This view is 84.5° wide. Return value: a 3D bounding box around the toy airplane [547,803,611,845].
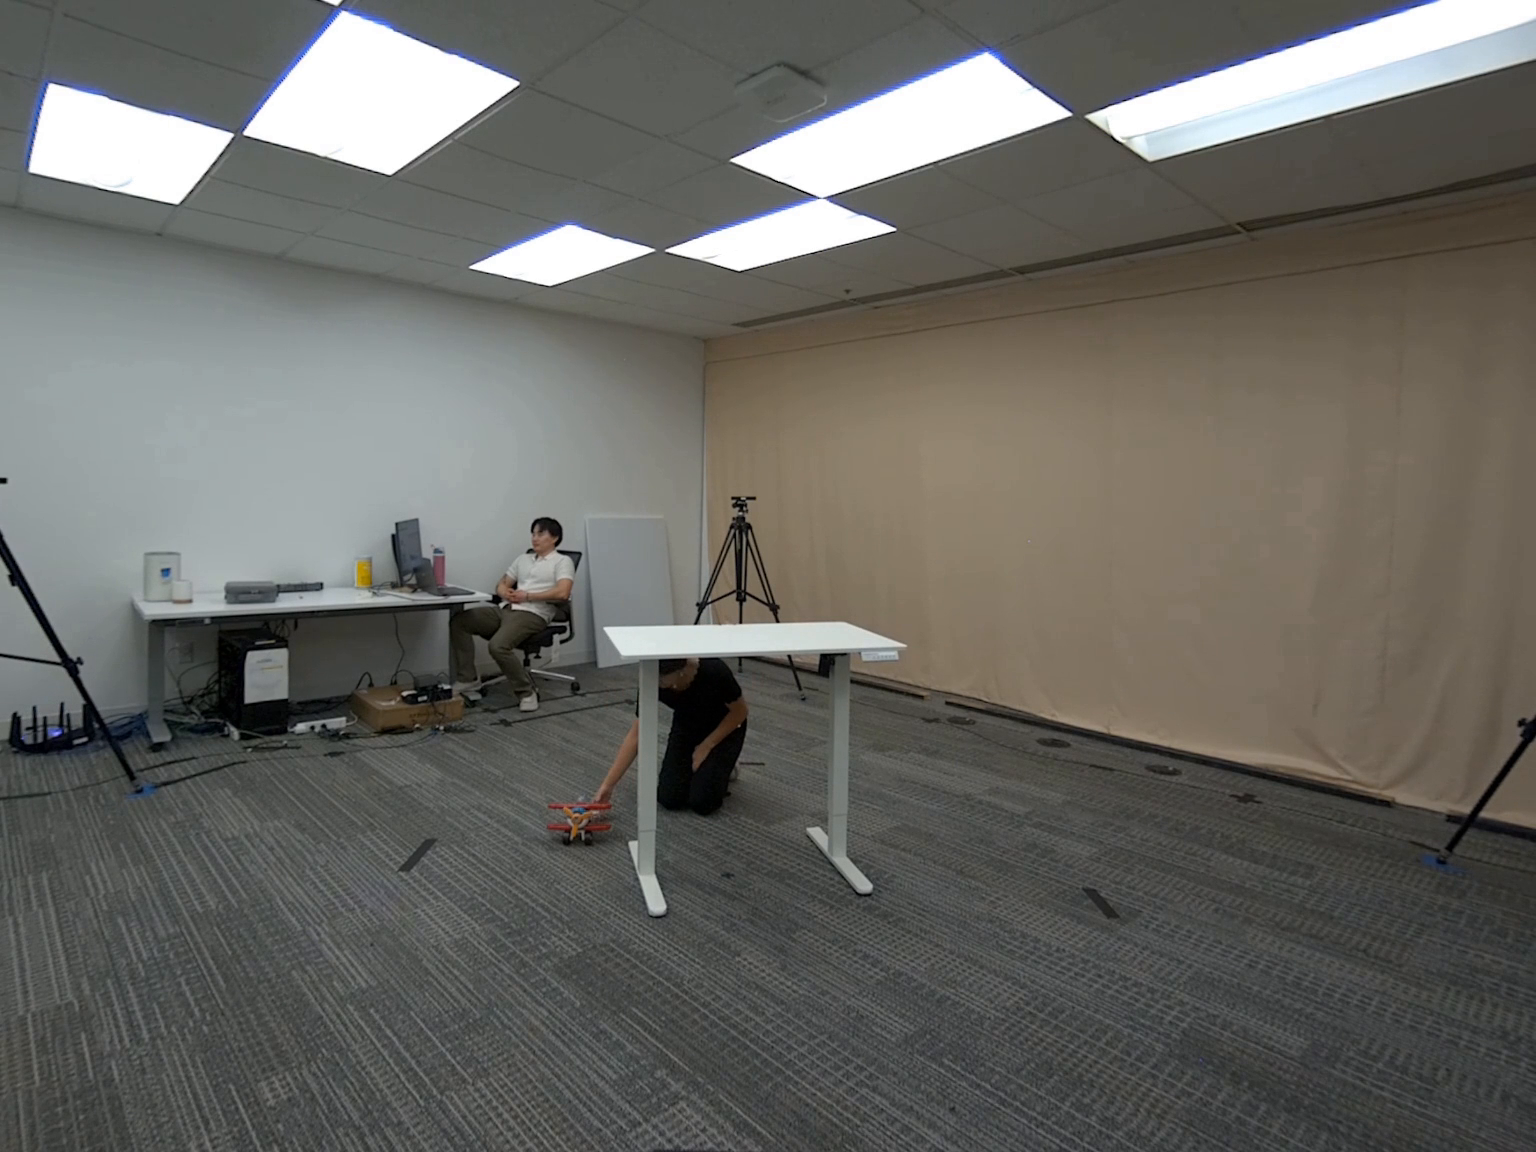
[{"bbox_3d":[-0.791,0.989,3.428,0.246,0.156,0.265,-2,6,-31],"label":"toy airplane"}]
